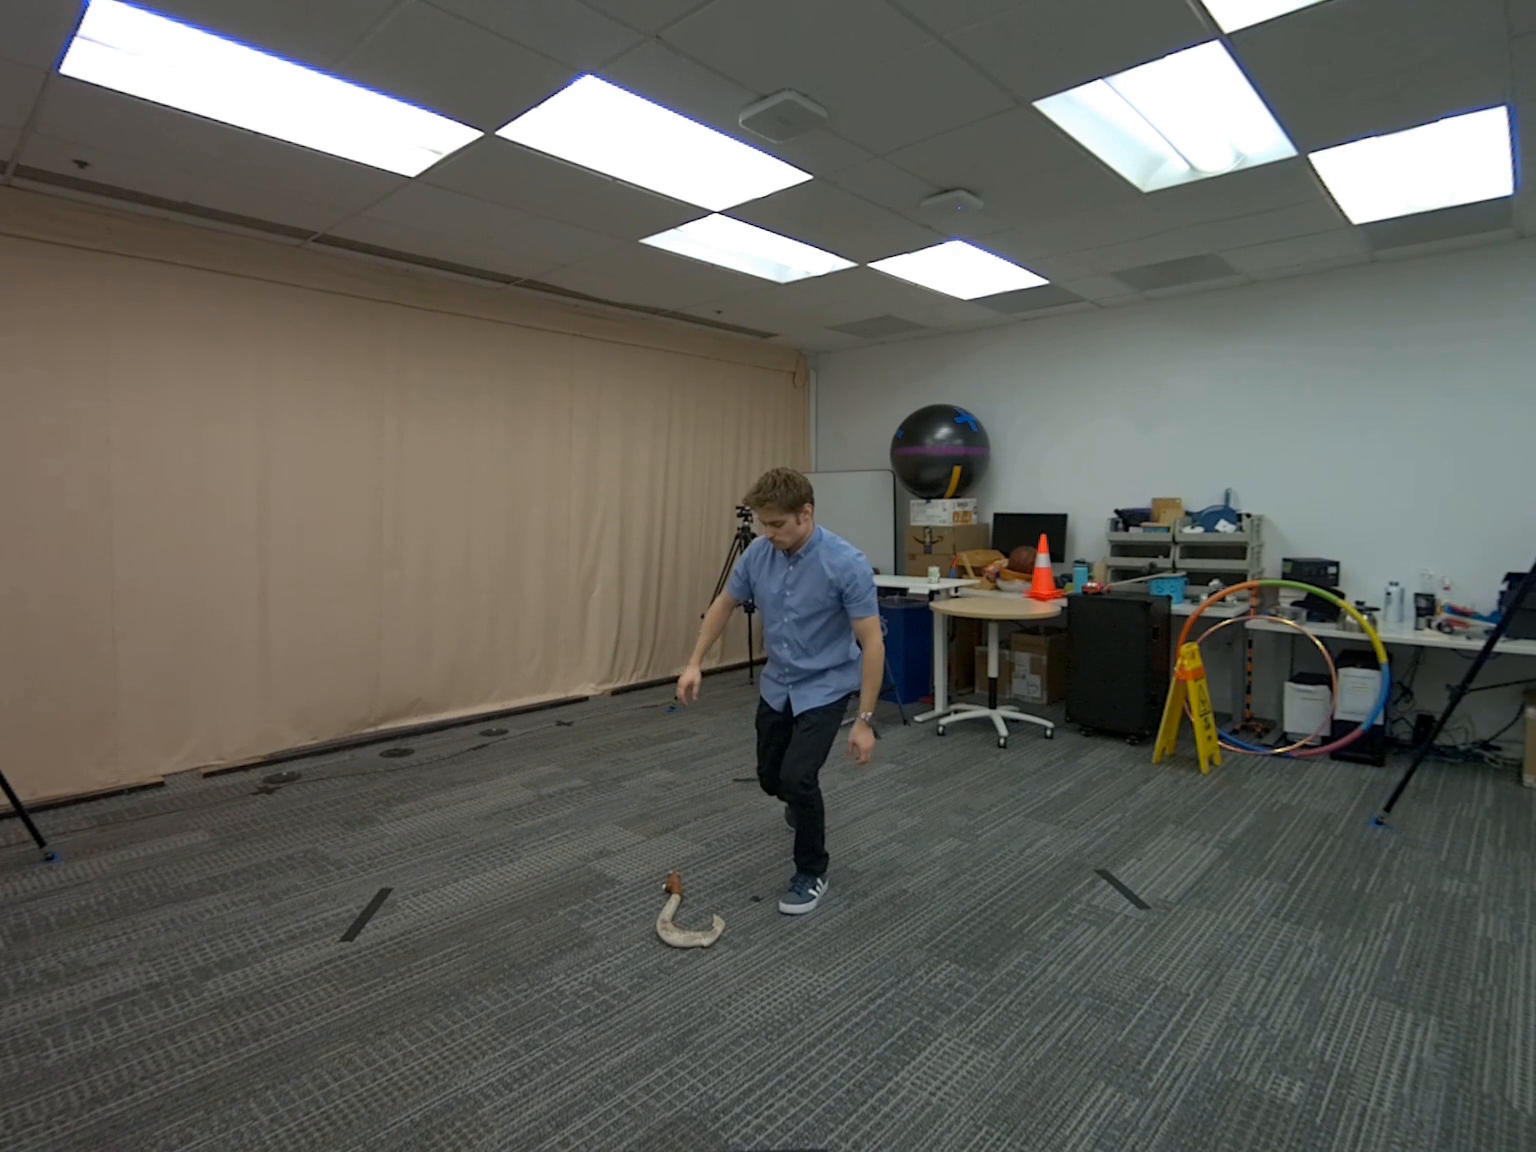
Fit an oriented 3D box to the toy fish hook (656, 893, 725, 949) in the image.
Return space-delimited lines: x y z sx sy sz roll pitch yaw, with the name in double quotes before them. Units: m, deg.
"toy fish hook" -0.267 1.138 2.890 0.223 0.048 0.511 7 4 -8
